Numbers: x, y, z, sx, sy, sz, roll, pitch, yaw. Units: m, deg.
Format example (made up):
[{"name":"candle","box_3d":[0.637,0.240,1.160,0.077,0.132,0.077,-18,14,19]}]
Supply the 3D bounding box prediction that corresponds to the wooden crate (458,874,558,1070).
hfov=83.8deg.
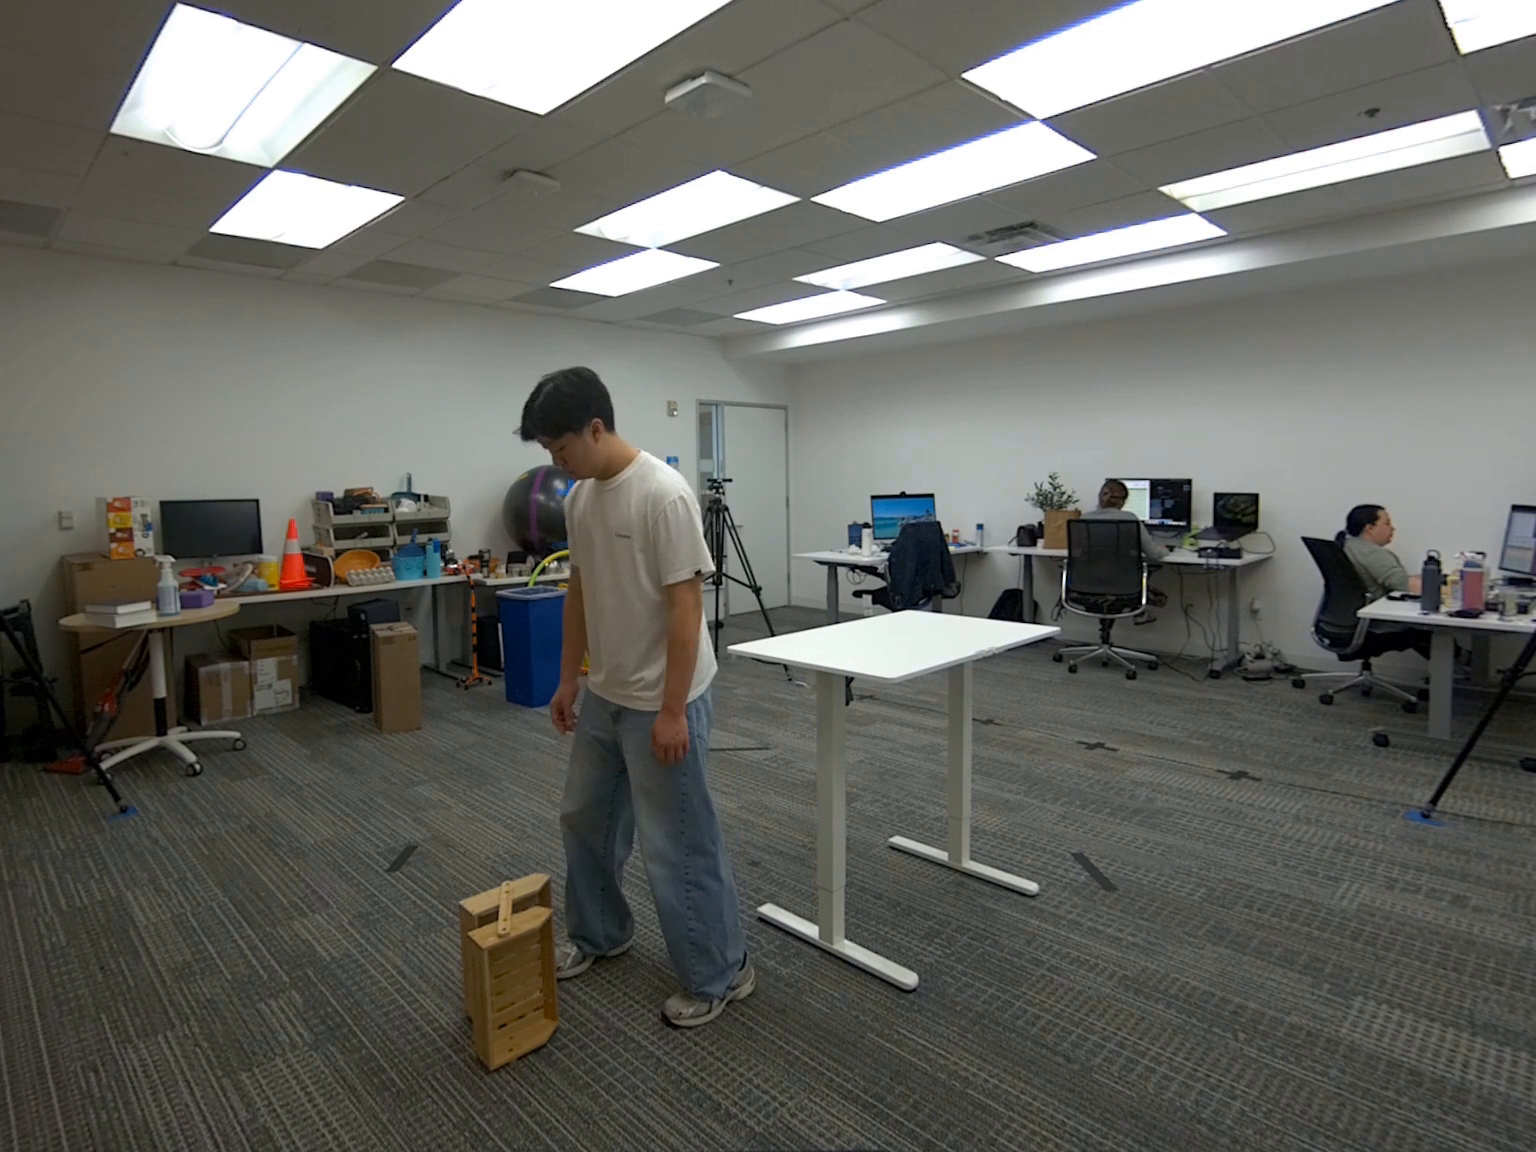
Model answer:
[{"name":"wooden crate","box_3d":[-0.631,1.003,2.191,0.294,0.323,0.282,-6,7,-42]}]
